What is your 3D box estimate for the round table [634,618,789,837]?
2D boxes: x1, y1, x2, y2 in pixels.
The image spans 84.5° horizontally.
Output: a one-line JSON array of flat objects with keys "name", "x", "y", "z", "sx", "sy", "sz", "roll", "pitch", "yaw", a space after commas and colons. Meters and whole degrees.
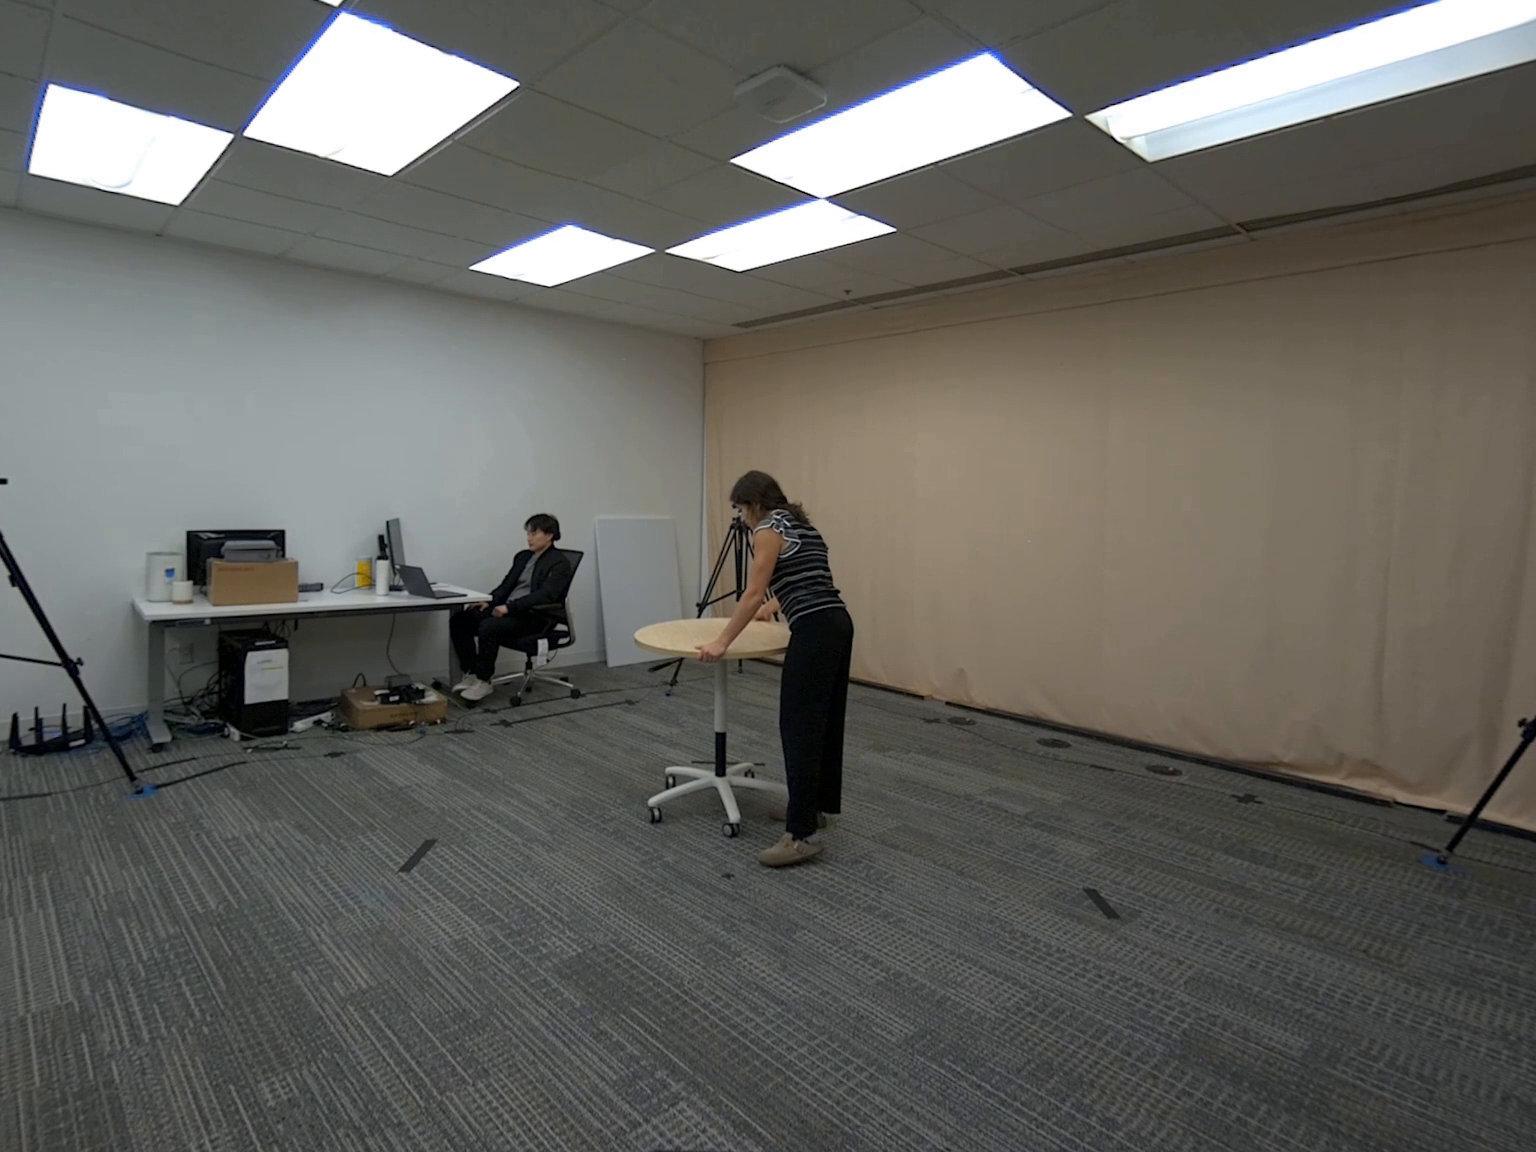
[{"name": "round table", "x": -0.229, "y": 0.648, "z": 3.761, "sx": 0.763, "sy": 0.791, "sz": 0.768, "roll": 1, "pitch": 6, "yaw": -1}]
